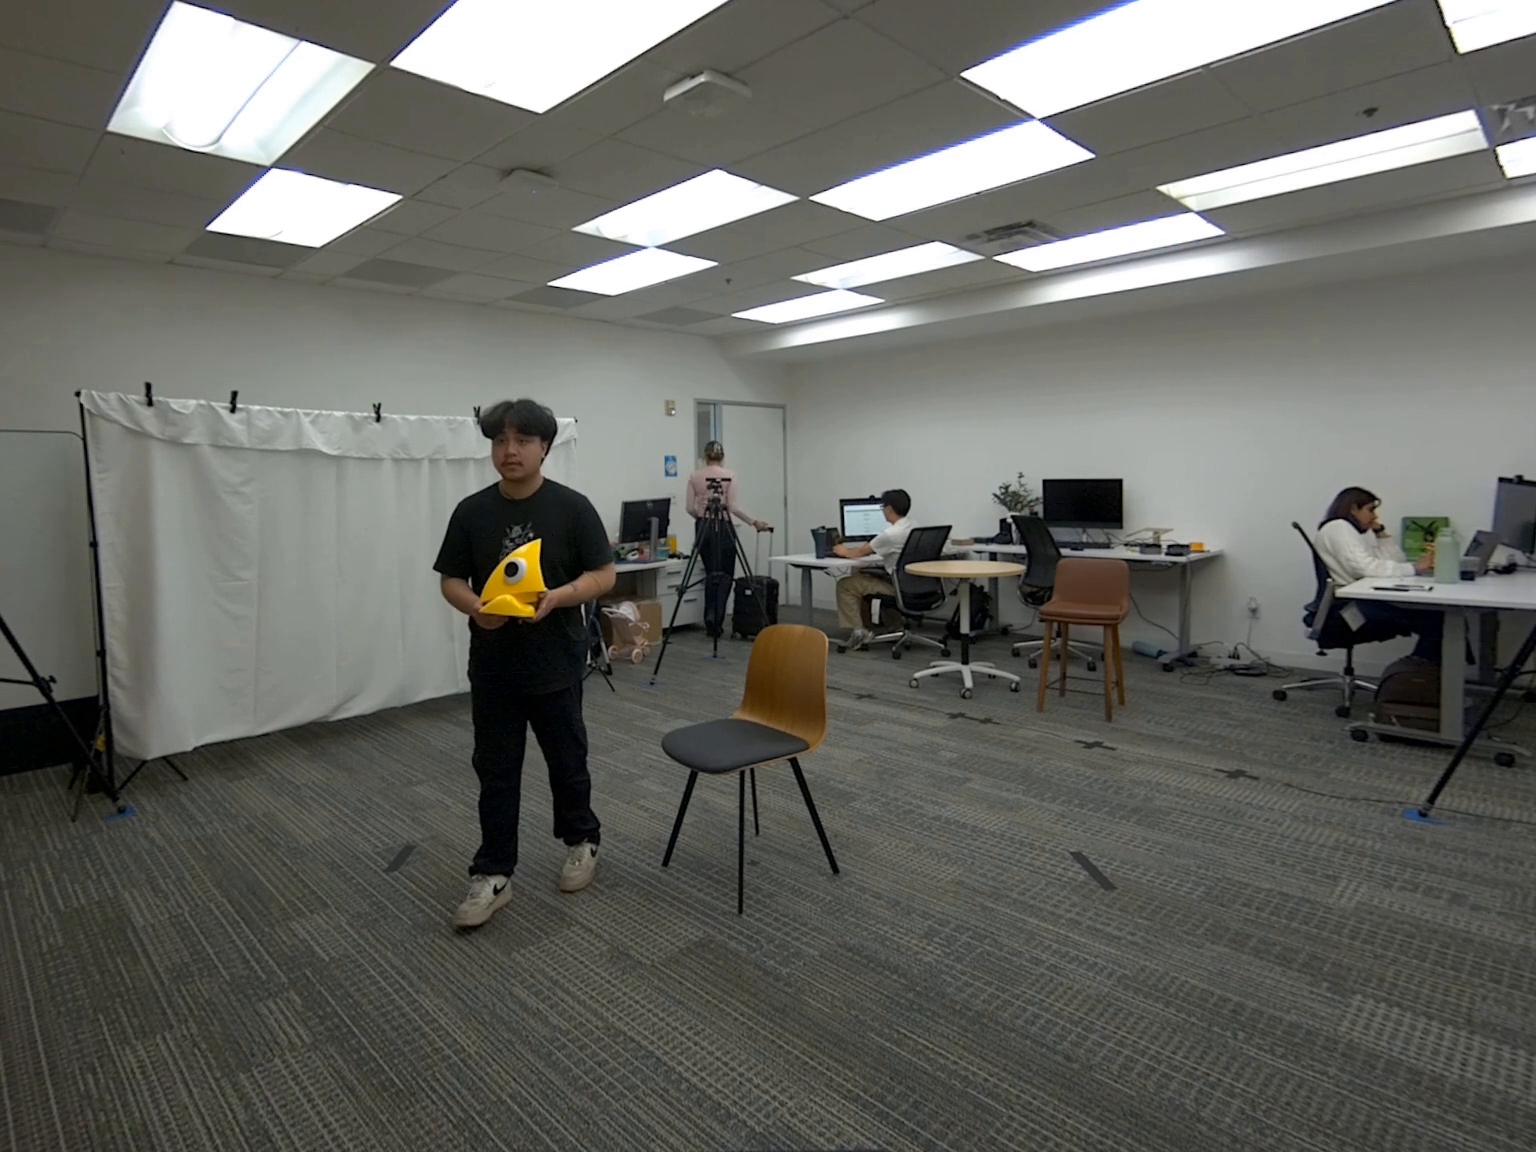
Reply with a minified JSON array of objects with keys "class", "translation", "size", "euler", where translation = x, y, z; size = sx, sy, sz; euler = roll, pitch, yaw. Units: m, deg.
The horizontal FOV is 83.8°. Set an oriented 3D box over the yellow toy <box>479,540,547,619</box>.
[{"class":"yellow toy","translation":[-0.763,-0.002,2.560],"size":[0.190,0.231,0.207],"euler":[6,-2,-14]}]
